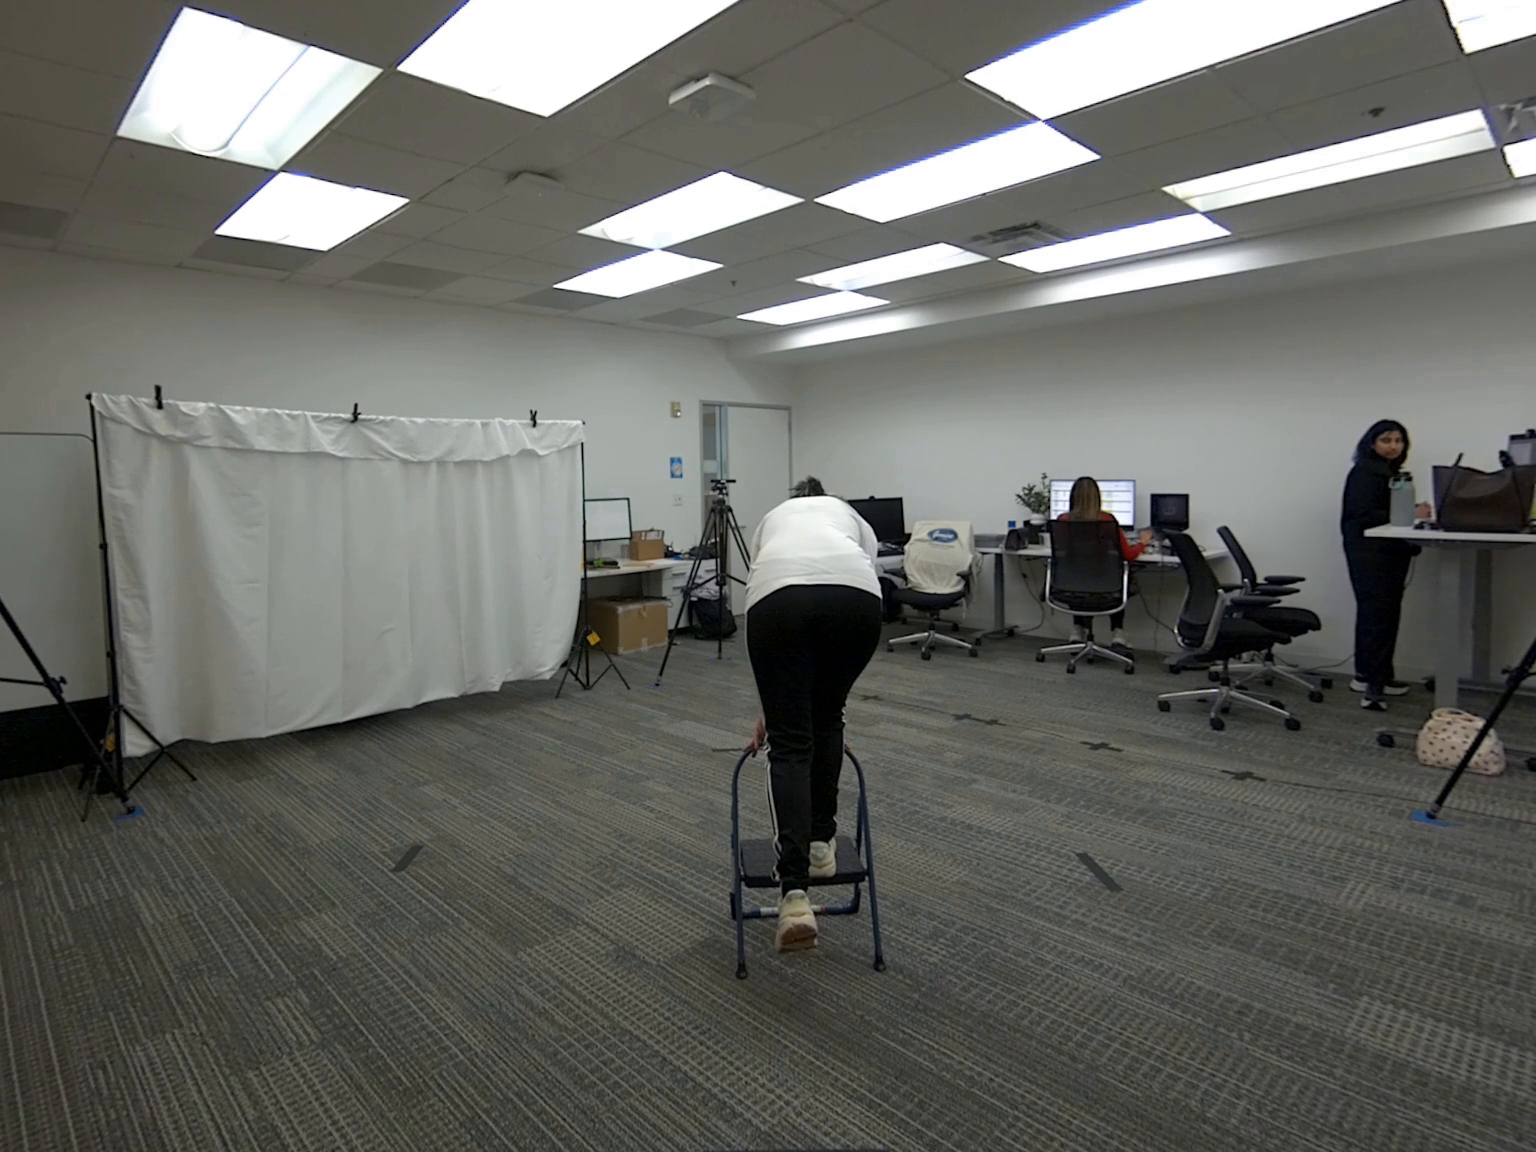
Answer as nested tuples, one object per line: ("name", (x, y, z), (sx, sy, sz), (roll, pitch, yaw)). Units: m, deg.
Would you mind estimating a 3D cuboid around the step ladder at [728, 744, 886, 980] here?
("step ladder", (0.103, 0.808, 2.564), (0.429, 0.604, 0.352), (-2, 4, -5))
